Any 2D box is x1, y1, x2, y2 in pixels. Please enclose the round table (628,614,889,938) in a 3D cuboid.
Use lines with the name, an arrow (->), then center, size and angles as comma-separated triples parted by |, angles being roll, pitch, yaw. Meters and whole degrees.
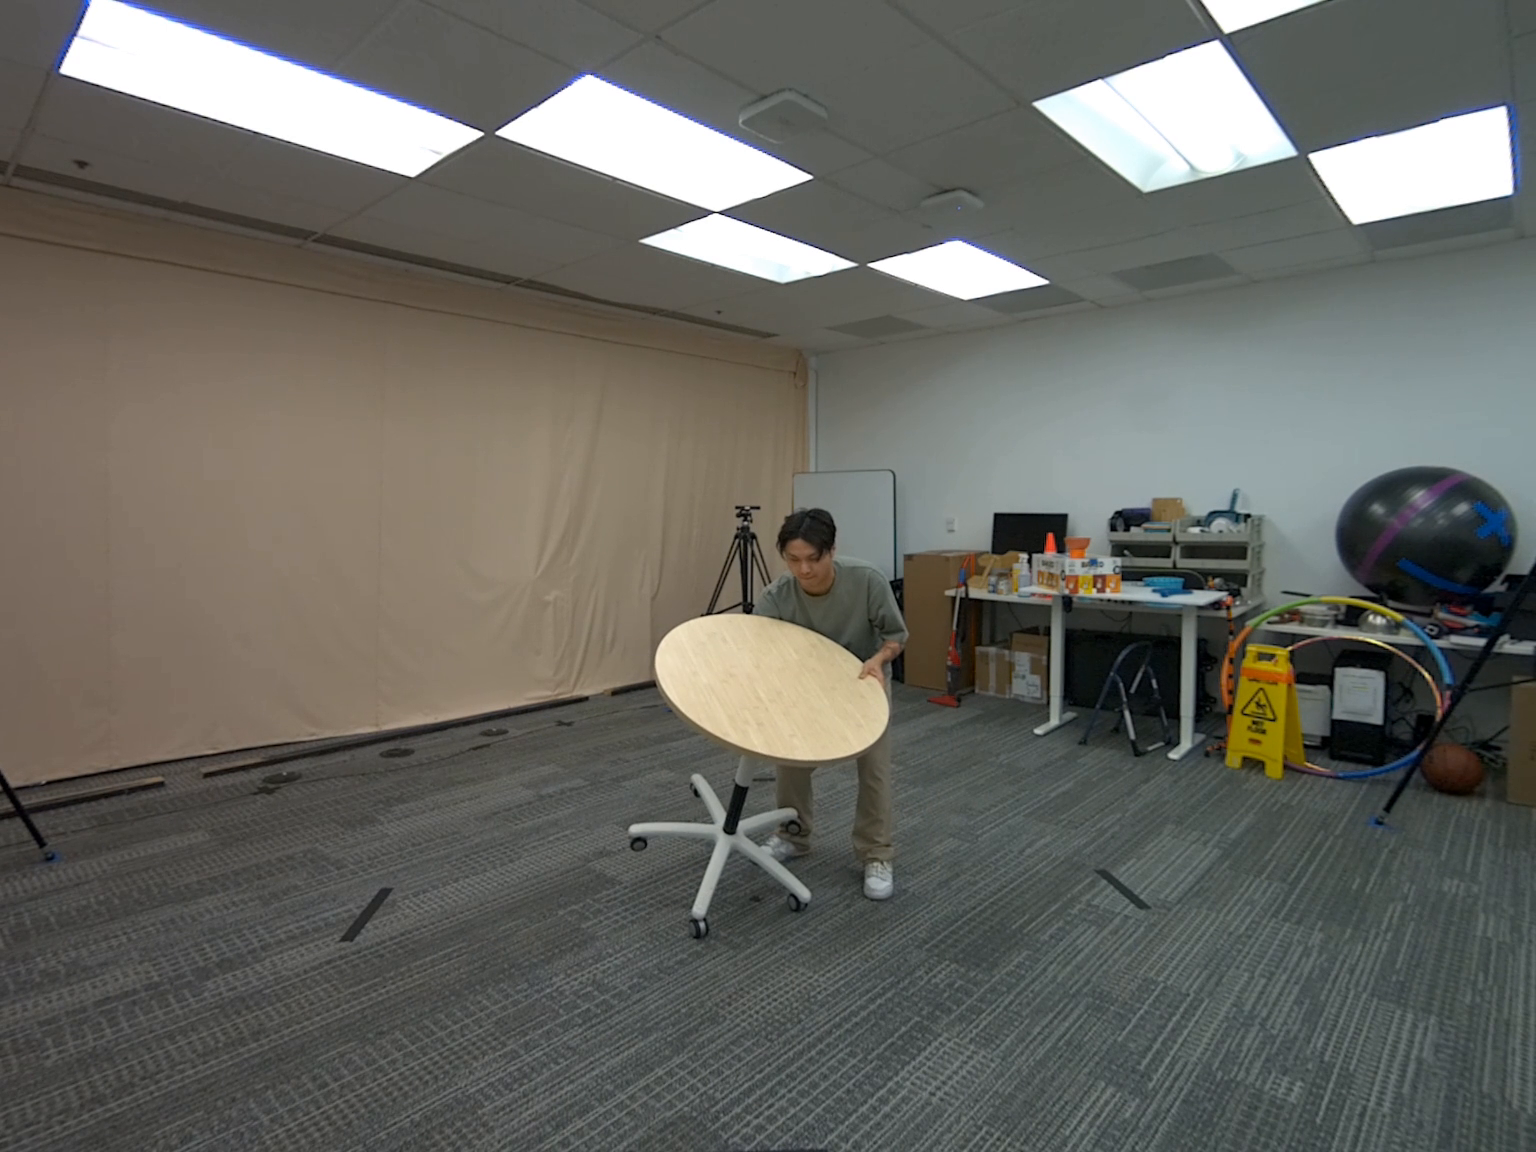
round table -> -0.066, 0.681, 2.865 | 0.780, 0.780, 0.798 | 10, 26, -7
